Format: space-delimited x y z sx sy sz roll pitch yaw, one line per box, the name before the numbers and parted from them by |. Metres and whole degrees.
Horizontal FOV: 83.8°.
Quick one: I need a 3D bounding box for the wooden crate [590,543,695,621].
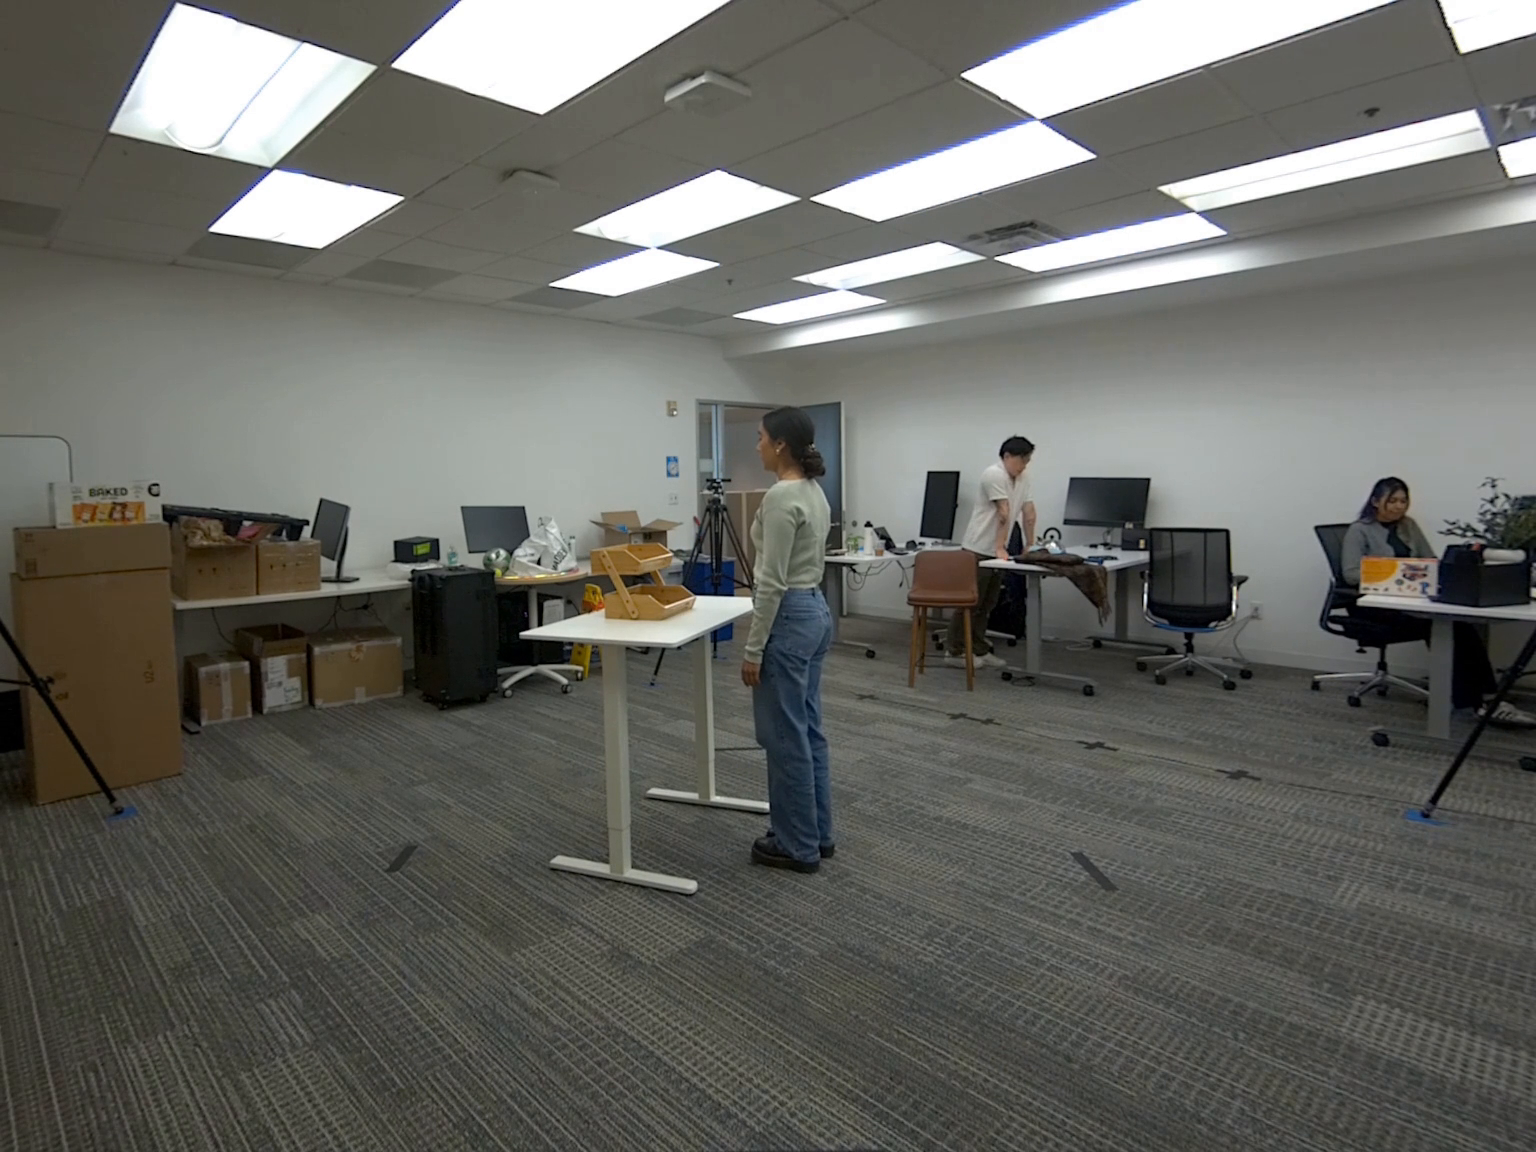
wooden crate | -0.469 0.013 3.318 0.308 0.272 0.320 0 5 19
